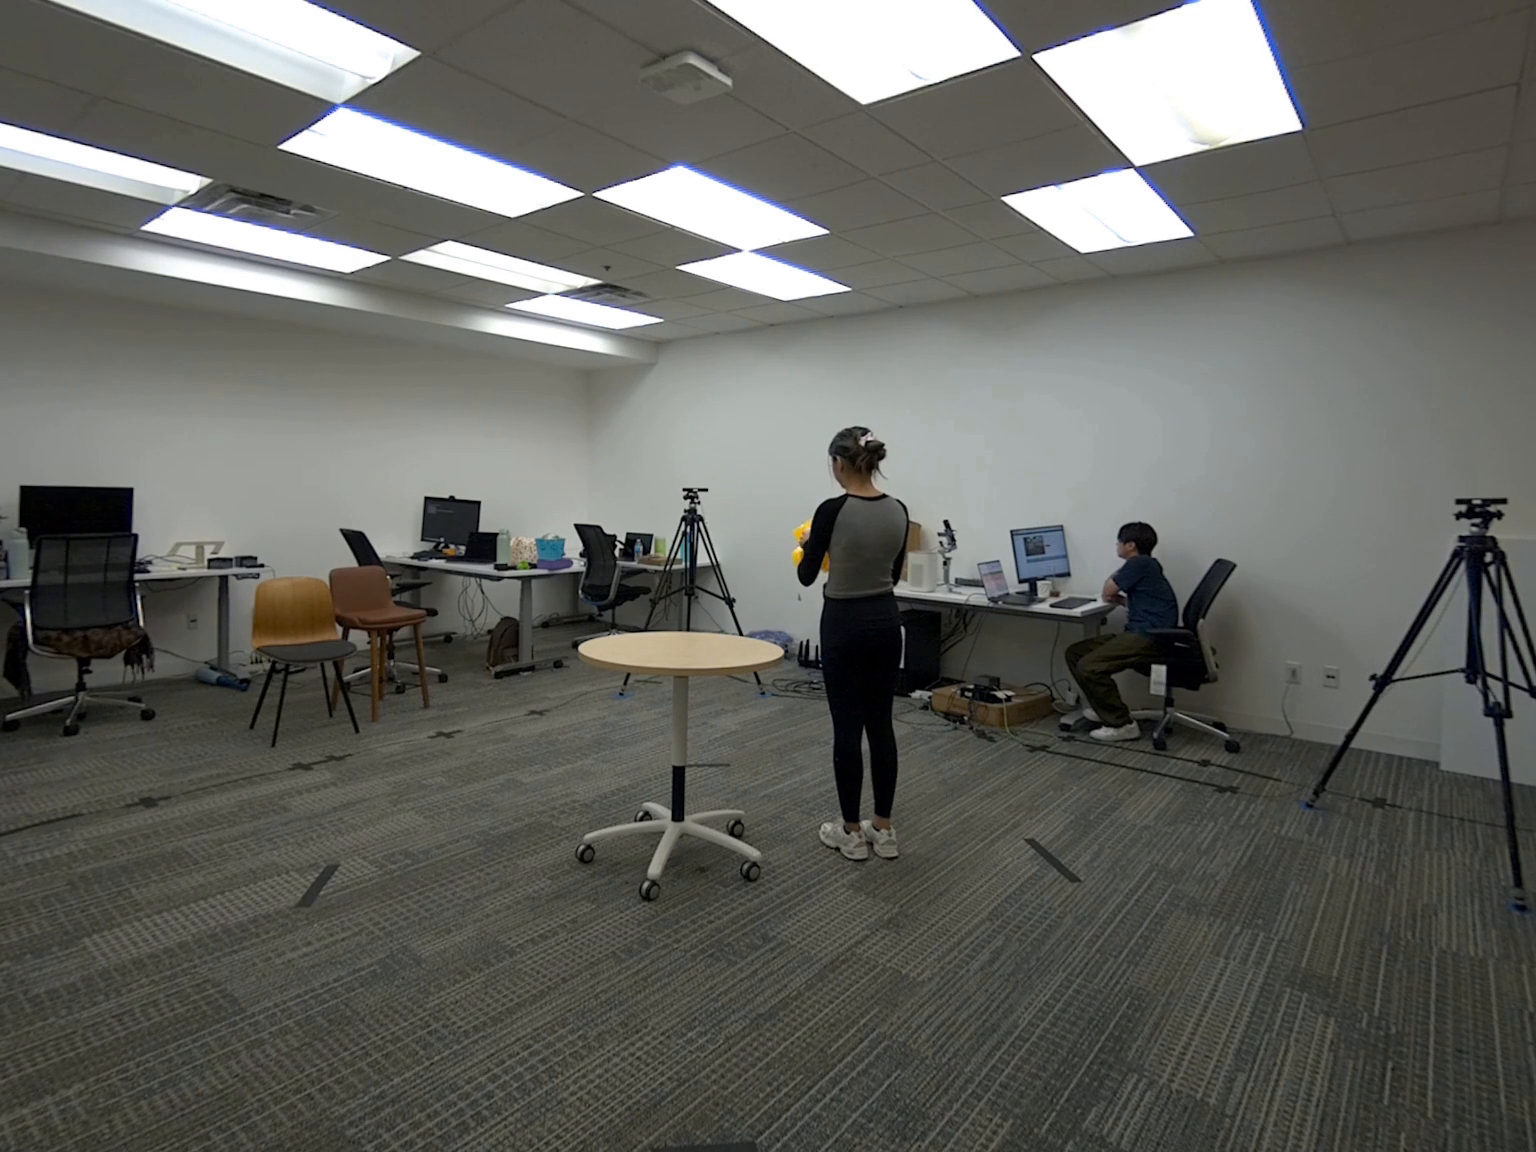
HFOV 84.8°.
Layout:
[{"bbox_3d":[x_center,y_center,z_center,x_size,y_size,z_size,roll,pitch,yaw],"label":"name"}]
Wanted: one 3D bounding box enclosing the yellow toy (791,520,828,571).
[{"bbox_3d":[0.218,-0.157,3.619,0.202,0.226,0.200,4,36,-14],"label":"yellow toy"}]
